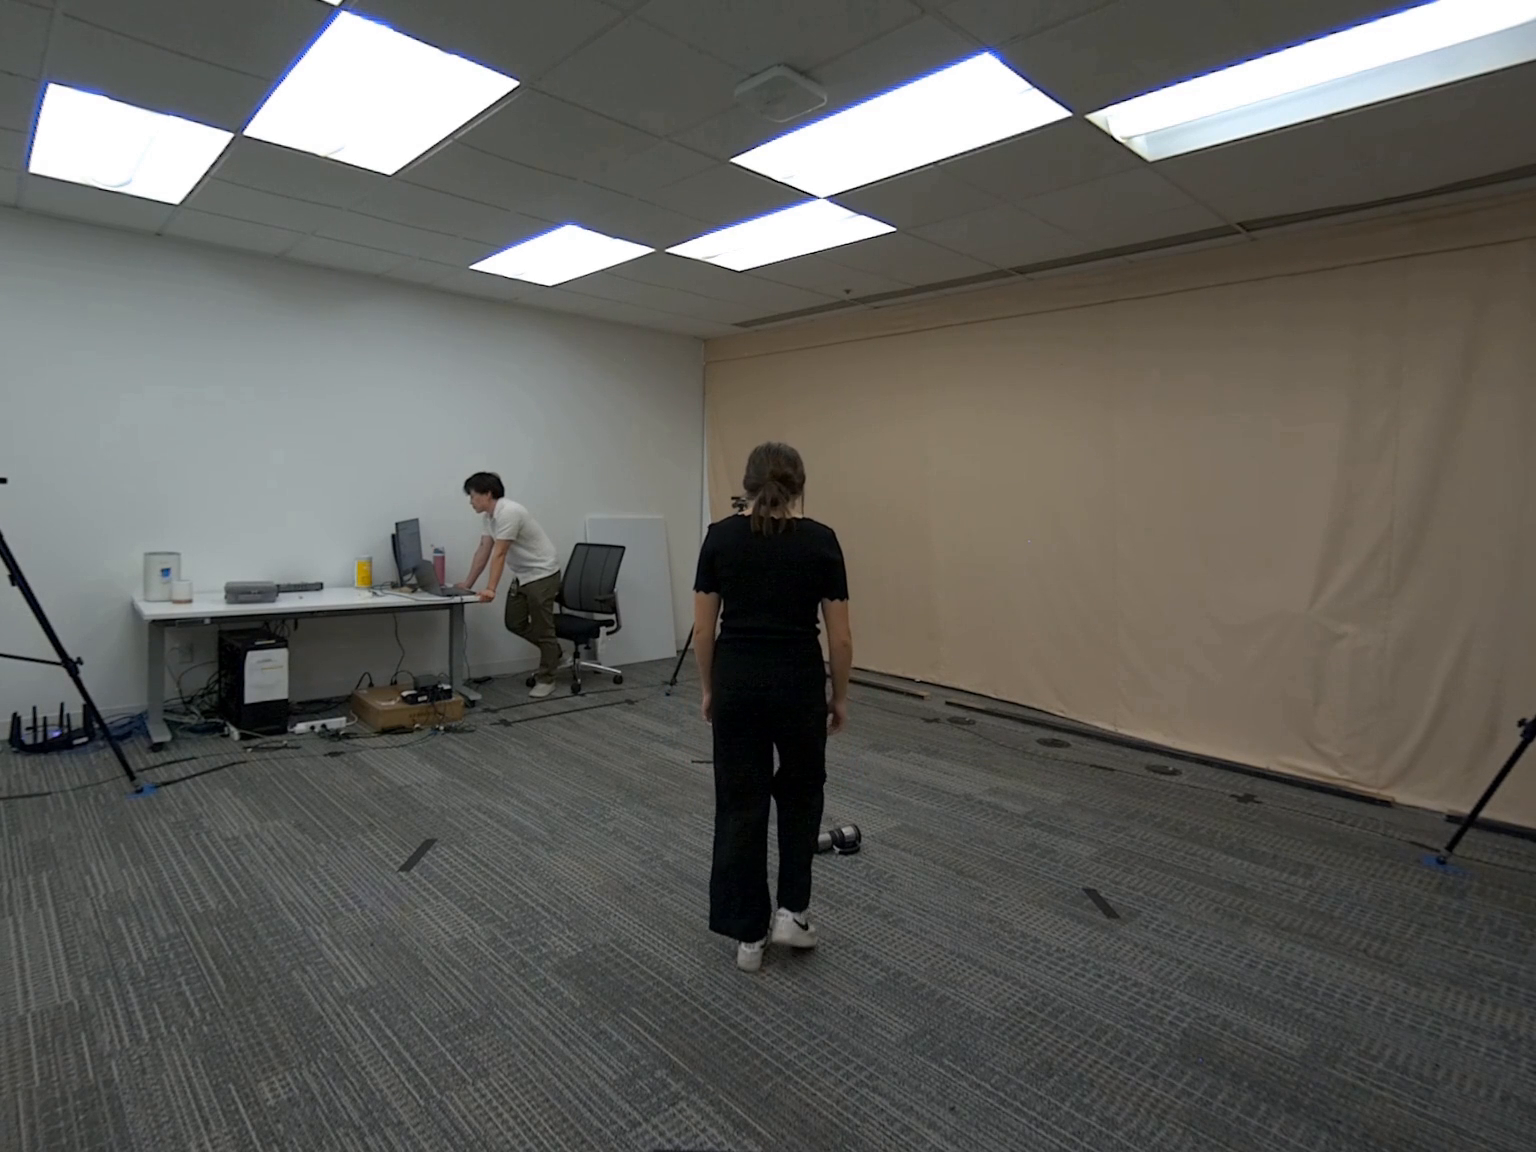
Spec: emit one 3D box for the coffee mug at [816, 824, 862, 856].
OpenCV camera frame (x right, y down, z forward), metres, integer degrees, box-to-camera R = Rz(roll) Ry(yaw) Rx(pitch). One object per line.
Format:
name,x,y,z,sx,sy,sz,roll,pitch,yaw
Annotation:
coffee mug,0.263,1.046,3.344,0.199,0.088,0.123,-3,-7,-28
